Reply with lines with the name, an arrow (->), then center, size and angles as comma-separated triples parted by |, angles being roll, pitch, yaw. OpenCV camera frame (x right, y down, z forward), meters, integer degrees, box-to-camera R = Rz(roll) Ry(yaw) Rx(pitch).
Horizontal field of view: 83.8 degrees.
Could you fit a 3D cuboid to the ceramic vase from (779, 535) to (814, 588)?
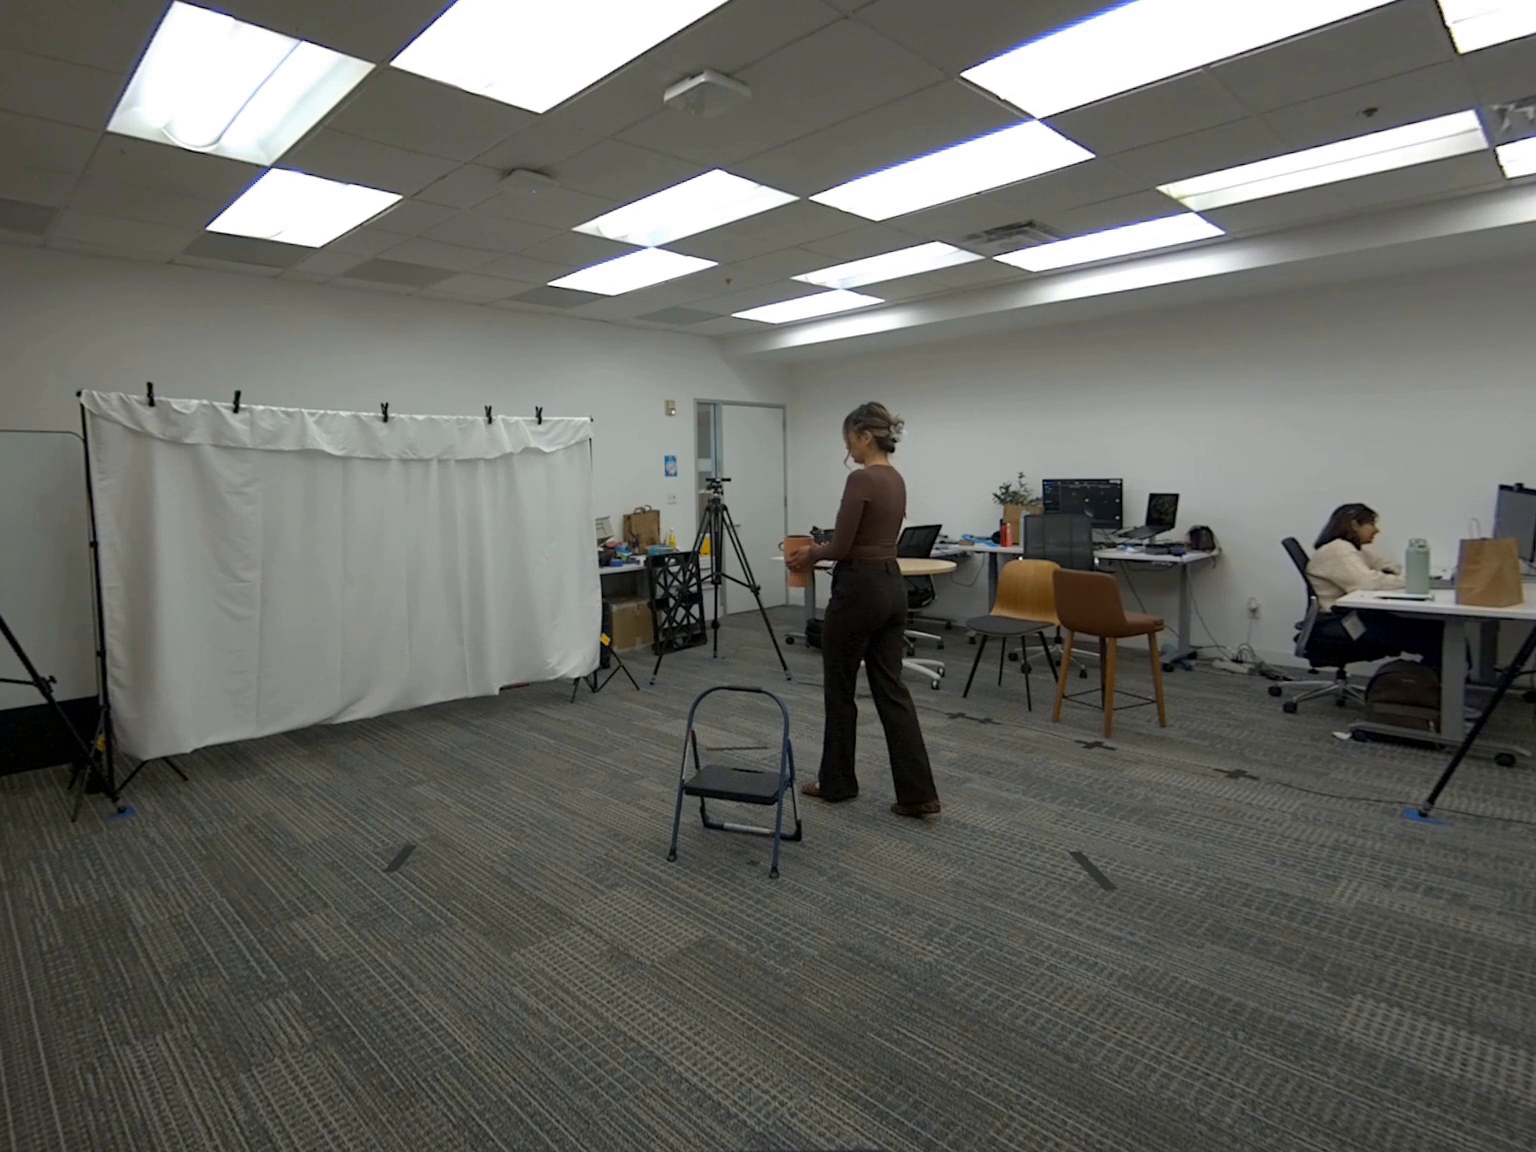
ceramic vase -> 0.146, -0.069, 3.820 | 0.132, 0.218, 0.163 | -3, 9, -23
